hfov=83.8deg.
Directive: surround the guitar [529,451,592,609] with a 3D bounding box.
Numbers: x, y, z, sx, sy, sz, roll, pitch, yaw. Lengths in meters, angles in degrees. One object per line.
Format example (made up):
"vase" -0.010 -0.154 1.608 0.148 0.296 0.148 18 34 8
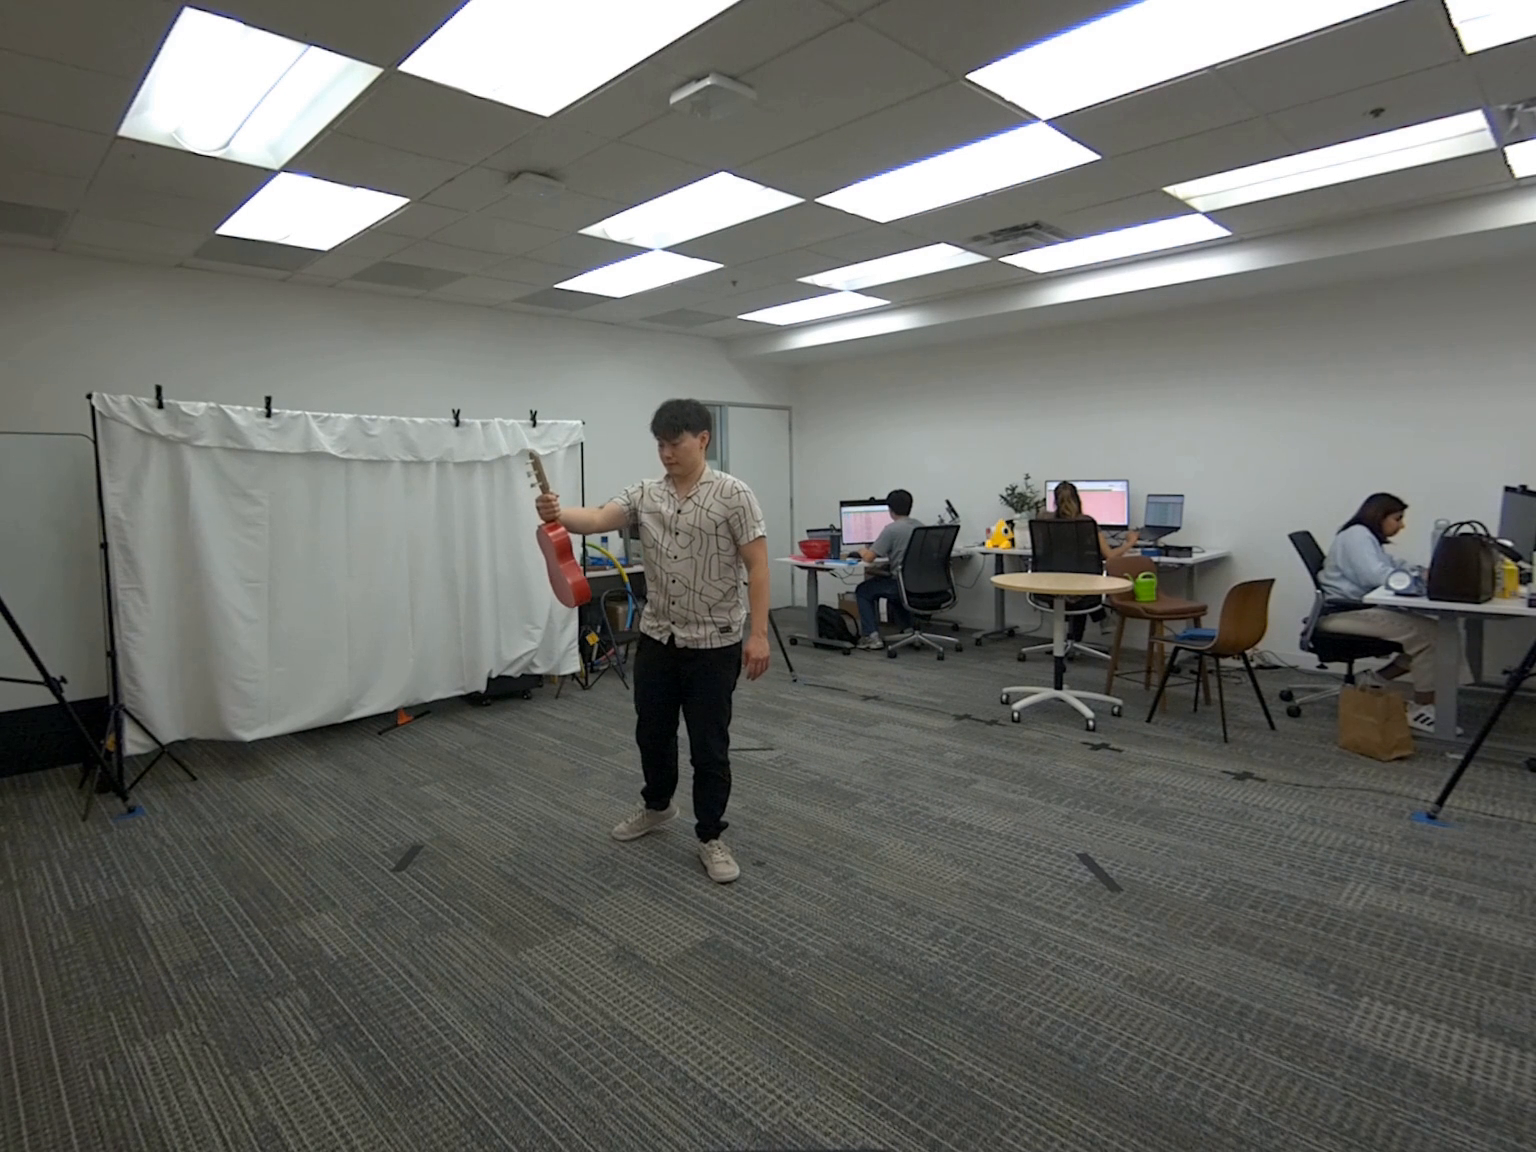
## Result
"guitar" -0.680 -0.141 2.688 0.070 0.494 0.197 -22 7 -27
